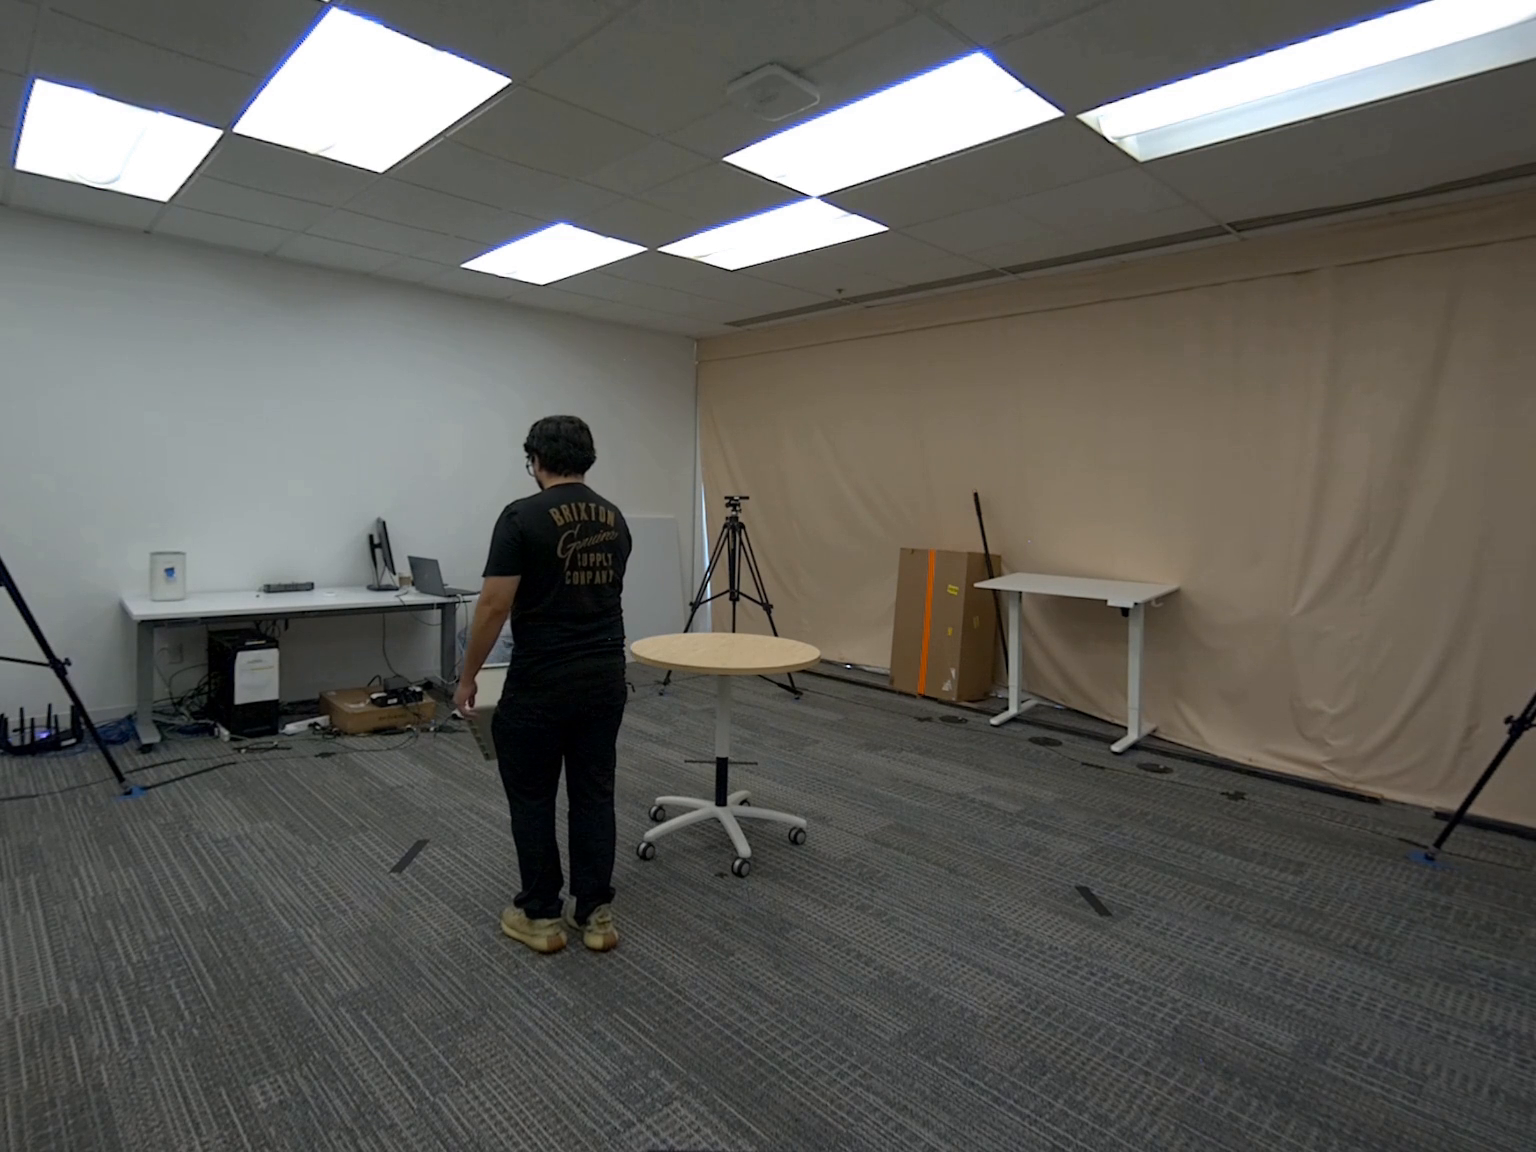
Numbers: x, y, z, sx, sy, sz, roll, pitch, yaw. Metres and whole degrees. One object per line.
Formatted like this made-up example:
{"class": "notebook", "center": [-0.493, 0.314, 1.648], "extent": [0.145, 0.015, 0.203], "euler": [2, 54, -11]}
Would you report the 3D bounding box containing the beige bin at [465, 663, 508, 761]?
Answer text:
{"class": "beige bin", "center": [-0.832, 0.500, 2.996], "extent": [0.423, 0.368, 0.193], "euler": [-4, 47, 1]}
